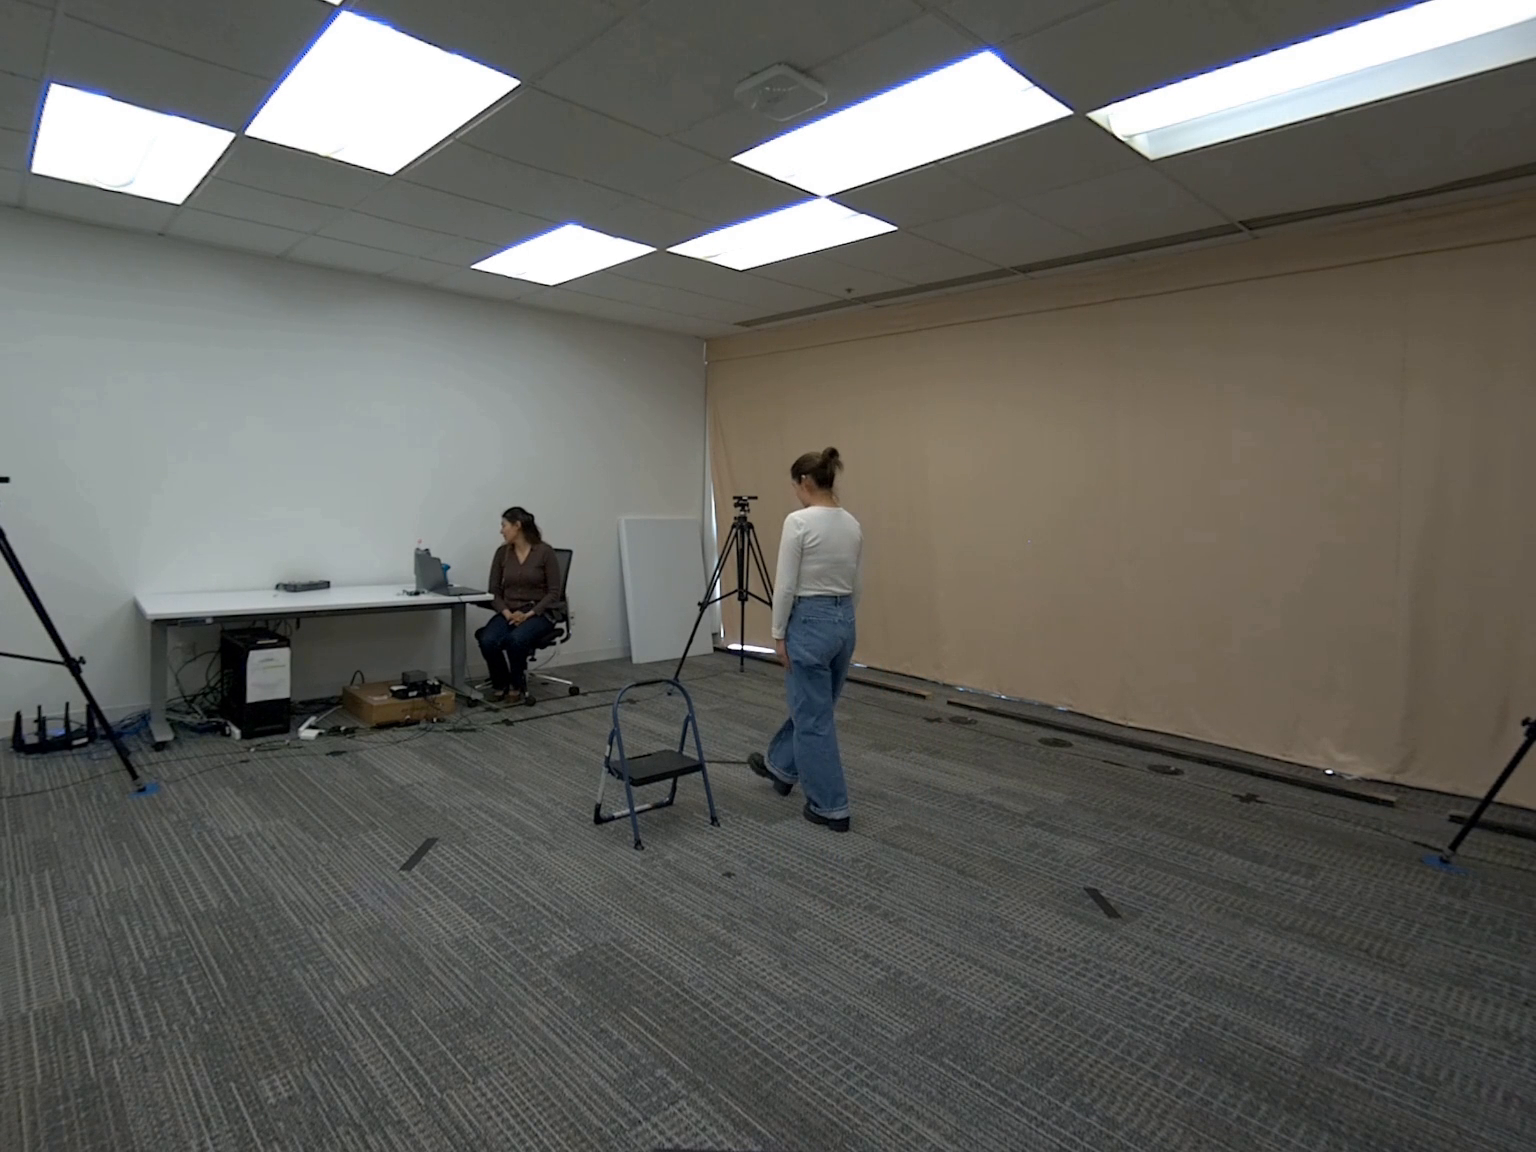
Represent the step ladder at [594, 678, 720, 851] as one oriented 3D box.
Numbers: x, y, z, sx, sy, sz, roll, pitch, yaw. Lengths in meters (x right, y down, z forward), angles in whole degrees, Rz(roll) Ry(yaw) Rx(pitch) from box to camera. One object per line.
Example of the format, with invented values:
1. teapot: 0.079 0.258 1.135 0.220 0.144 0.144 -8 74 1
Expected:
1. step ladder: -0.473 0.754 3.551 0.421 0.605 0.358 -2 4 -43
